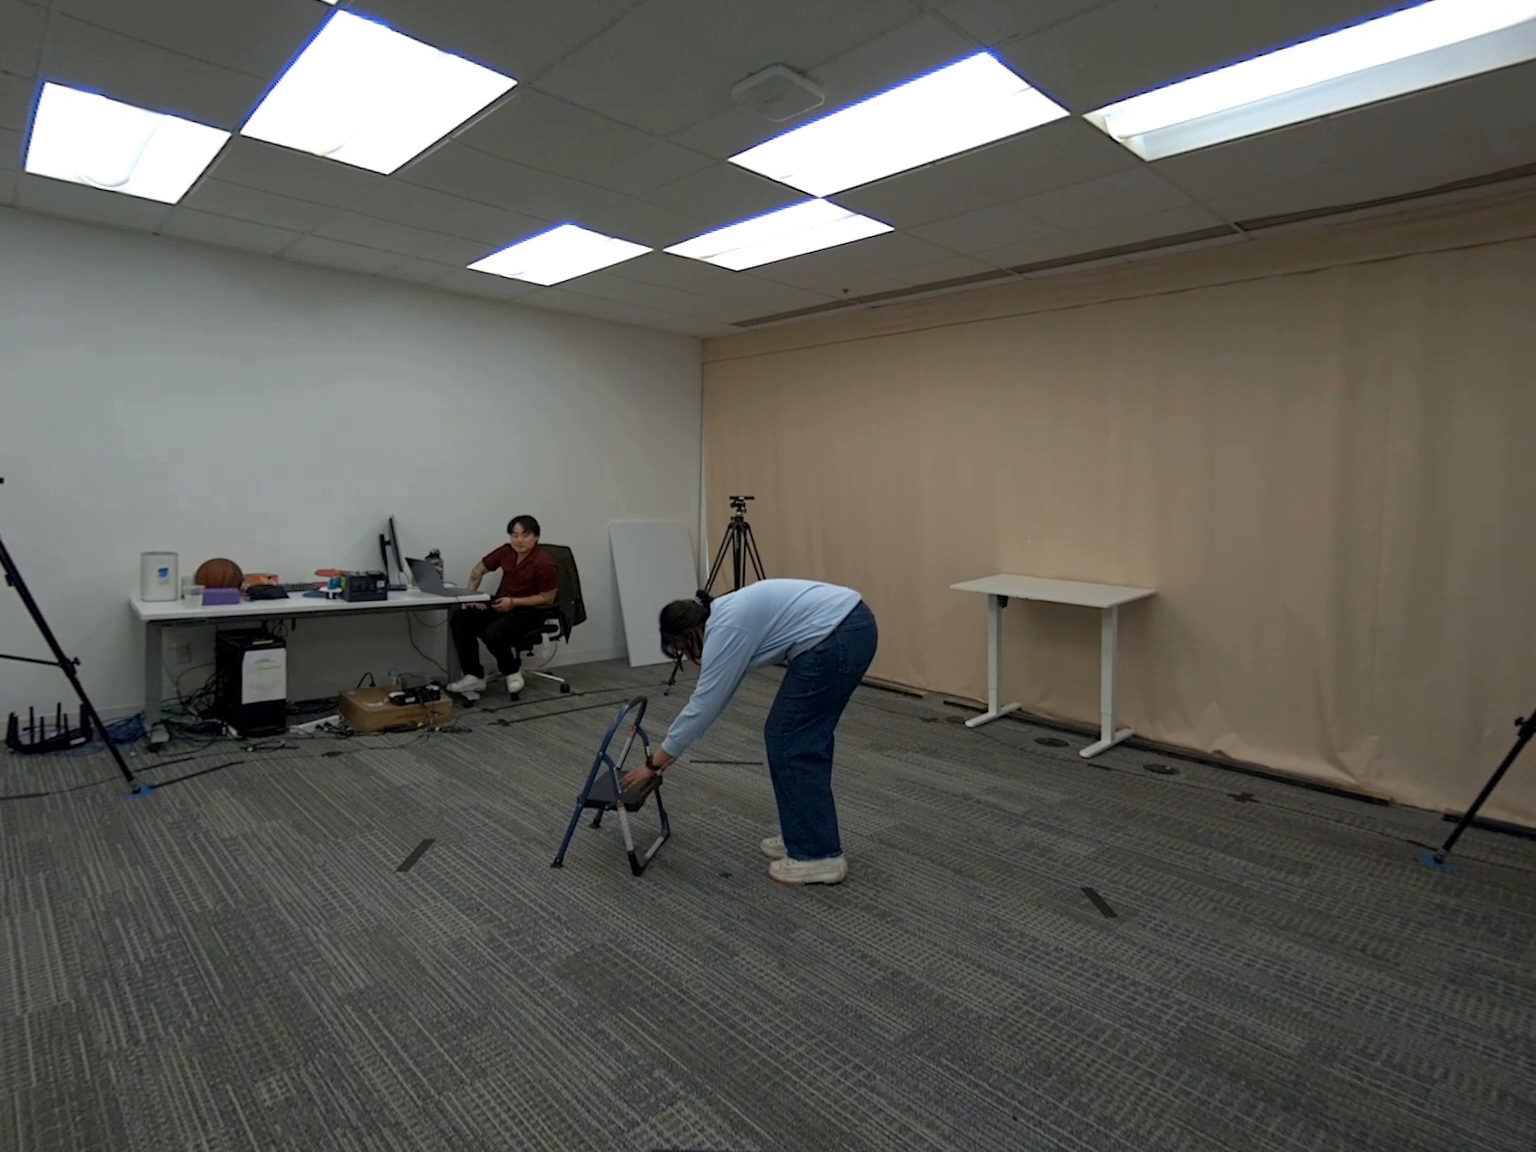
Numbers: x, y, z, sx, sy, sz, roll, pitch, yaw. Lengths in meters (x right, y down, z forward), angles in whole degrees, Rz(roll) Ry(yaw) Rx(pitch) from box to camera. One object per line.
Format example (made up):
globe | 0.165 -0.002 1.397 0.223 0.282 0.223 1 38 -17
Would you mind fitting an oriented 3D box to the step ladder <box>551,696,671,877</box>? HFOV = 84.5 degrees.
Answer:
step ladder | -0.599 0.771 3.290 0.352 0.604 0.428 2 4 10
